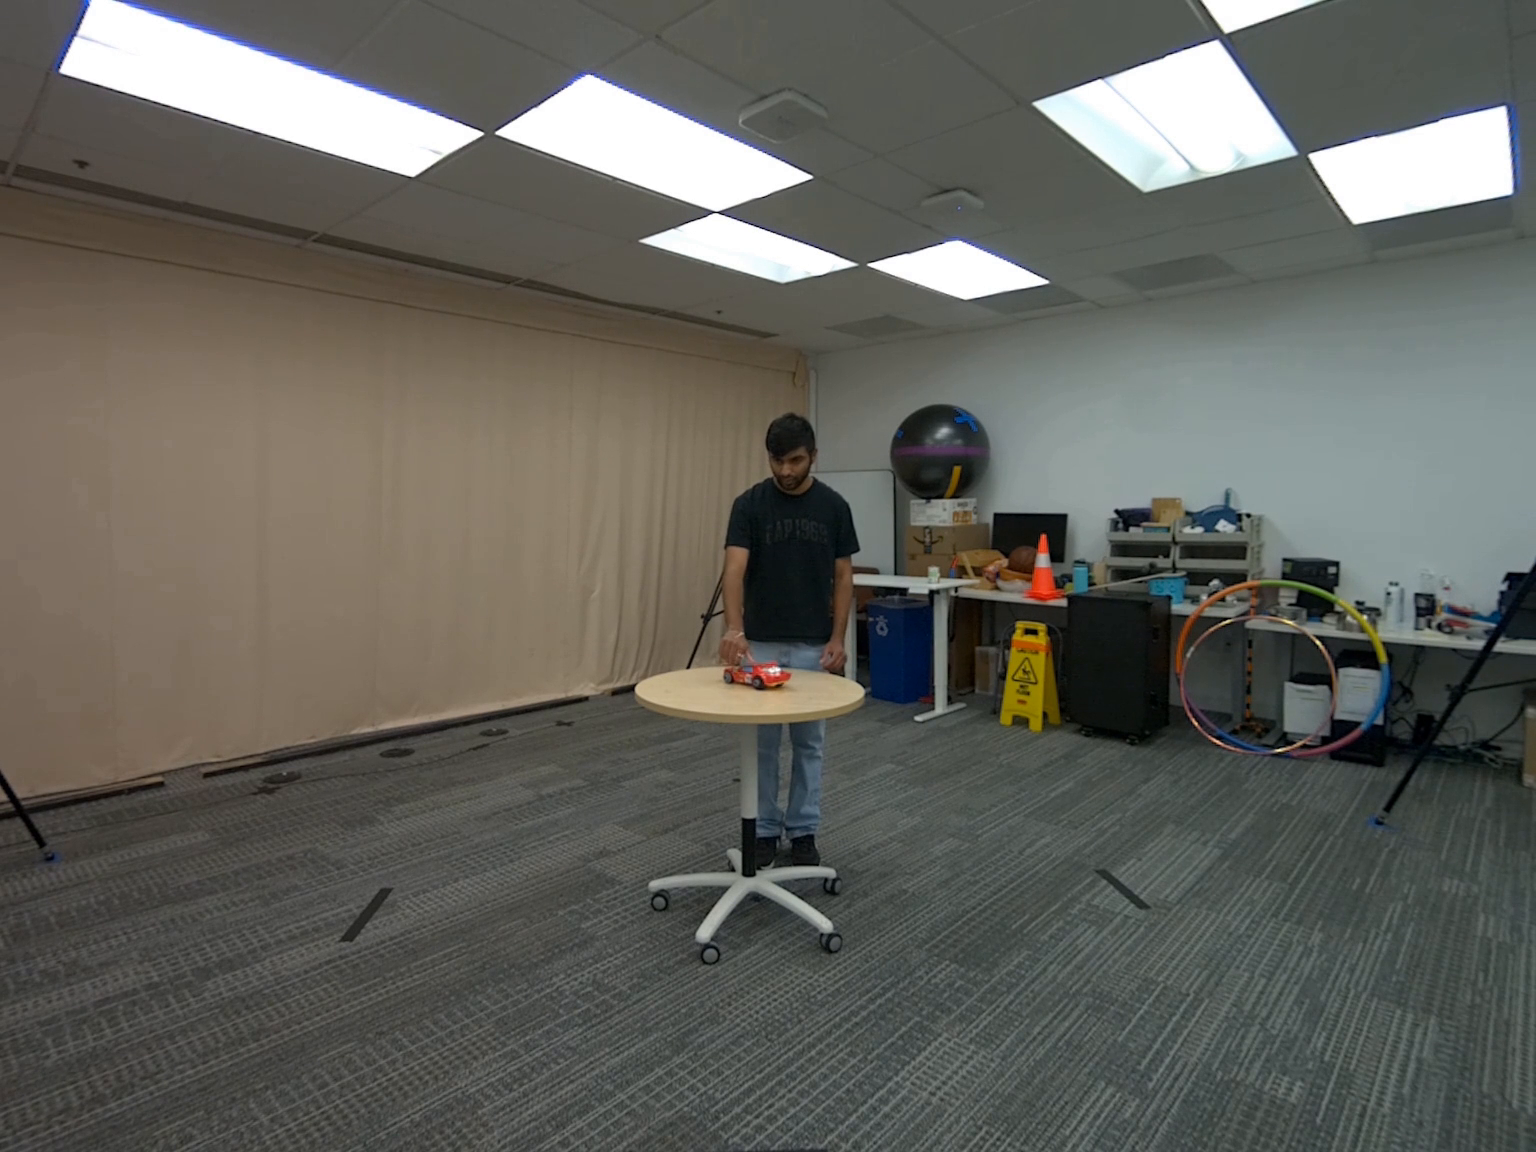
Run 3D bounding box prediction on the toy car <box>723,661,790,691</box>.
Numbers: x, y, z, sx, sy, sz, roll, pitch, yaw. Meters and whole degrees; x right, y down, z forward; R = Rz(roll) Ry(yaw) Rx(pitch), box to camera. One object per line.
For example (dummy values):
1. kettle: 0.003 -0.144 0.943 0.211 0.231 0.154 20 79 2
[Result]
1. toy car: -0.032 0.340 2.857 0.126 0.083 0.262 -2 -6 -45
